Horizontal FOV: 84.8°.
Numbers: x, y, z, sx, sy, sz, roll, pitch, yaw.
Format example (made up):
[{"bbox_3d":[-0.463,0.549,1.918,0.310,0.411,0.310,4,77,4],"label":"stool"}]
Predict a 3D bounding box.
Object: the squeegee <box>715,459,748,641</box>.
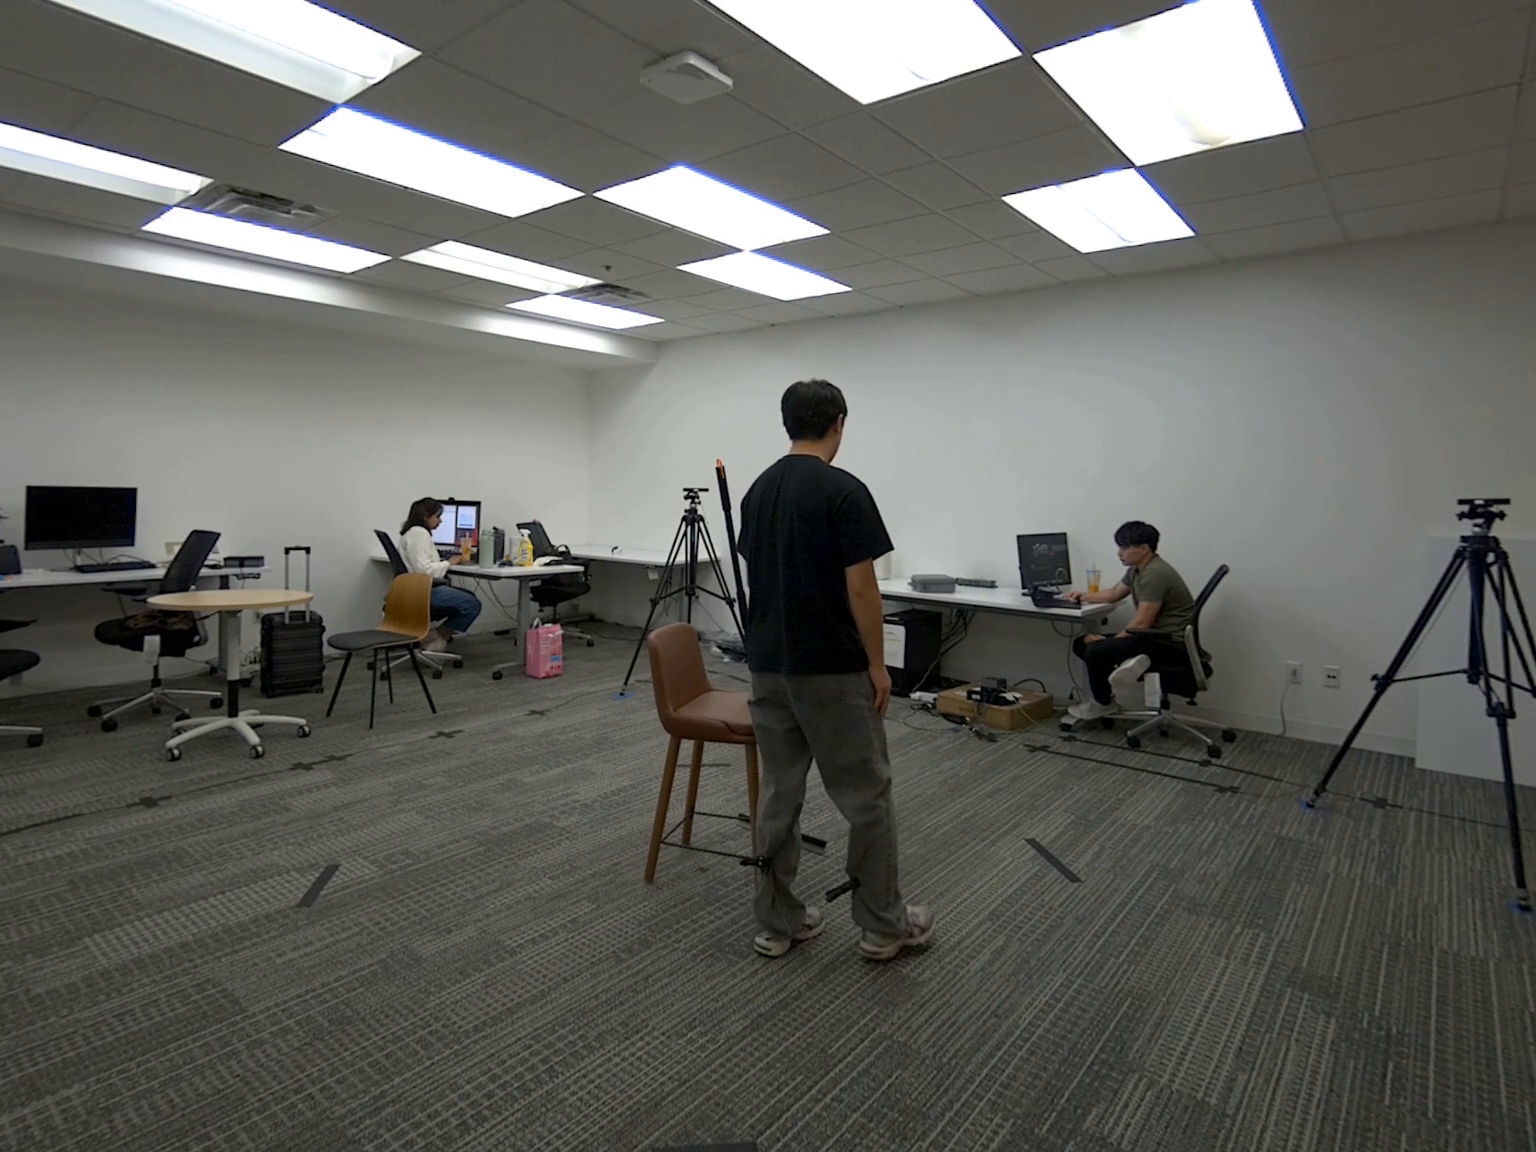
[{"bbox_3d":[-0.058,0.306,3.246,0.452,1.518,0.052,2,15,42],"label":"squeegee"}]
